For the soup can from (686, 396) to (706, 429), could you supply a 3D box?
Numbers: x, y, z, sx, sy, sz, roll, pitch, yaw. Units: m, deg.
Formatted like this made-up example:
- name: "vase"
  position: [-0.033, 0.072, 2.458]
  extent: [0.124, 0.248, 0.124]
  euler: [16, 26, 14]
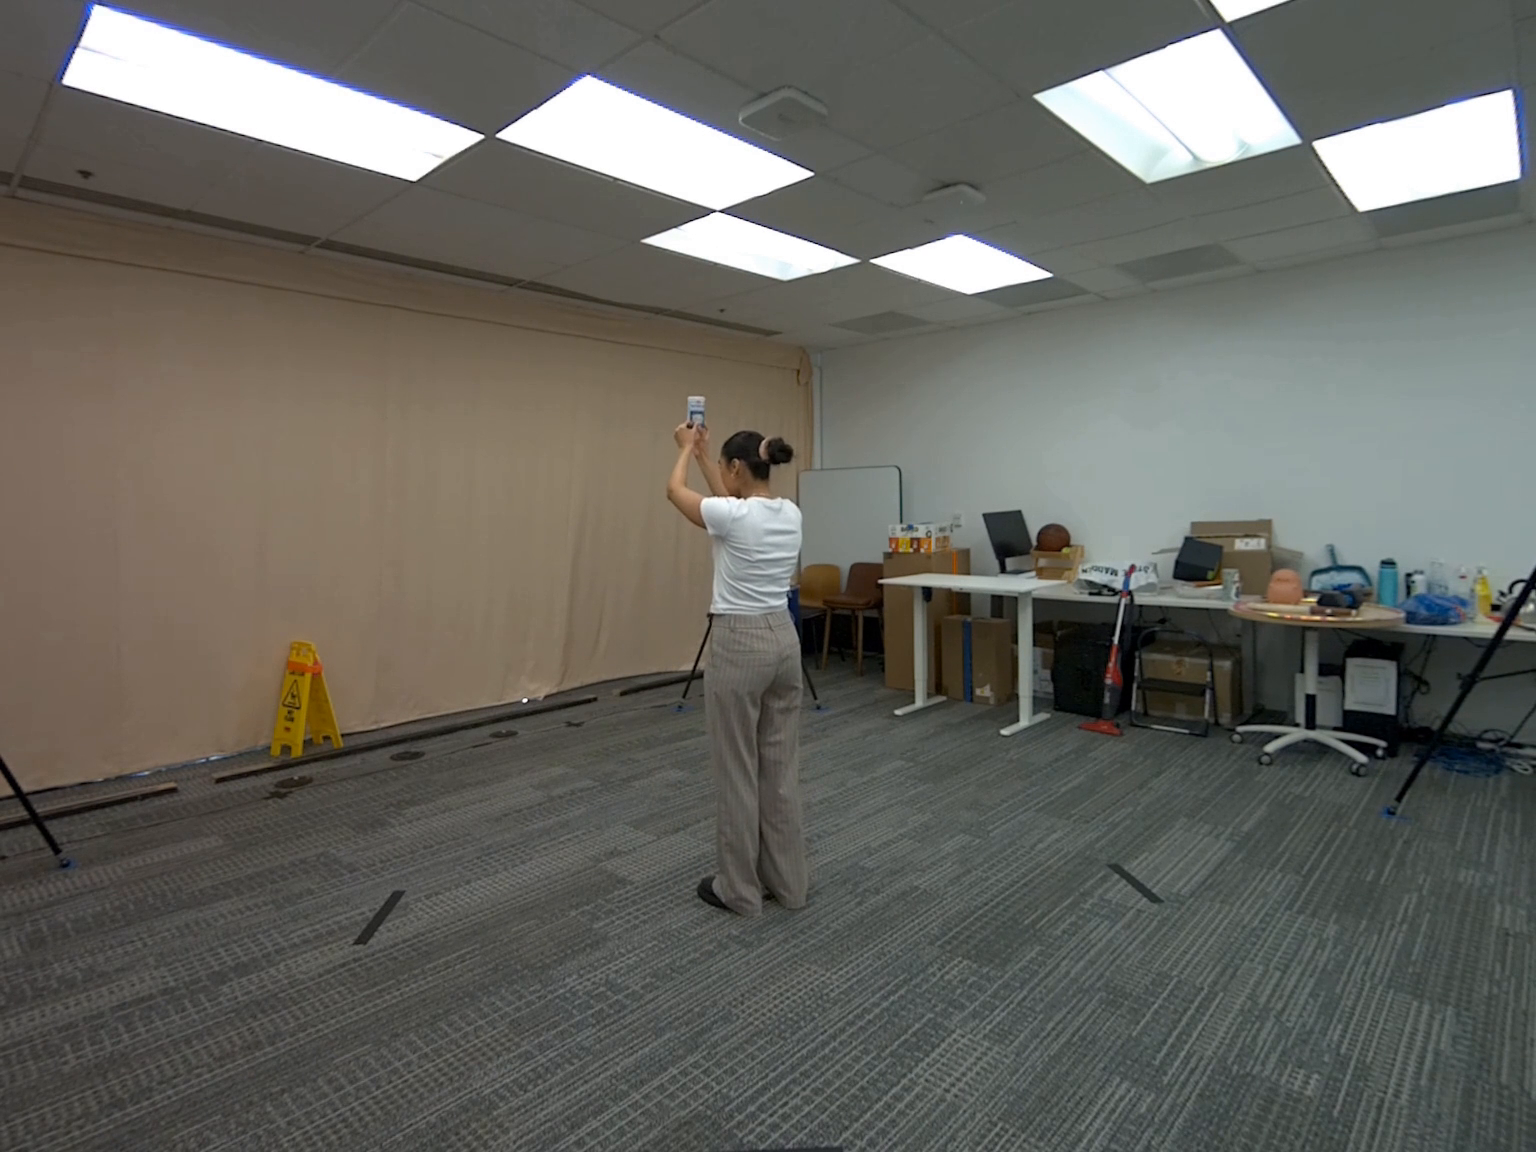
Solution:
- name: "soup can"
  position: [-0.270, -0.620, 3.193]
  extent: [0.067, 0.121, 0.067]
  euler: [3, 5, -2]
